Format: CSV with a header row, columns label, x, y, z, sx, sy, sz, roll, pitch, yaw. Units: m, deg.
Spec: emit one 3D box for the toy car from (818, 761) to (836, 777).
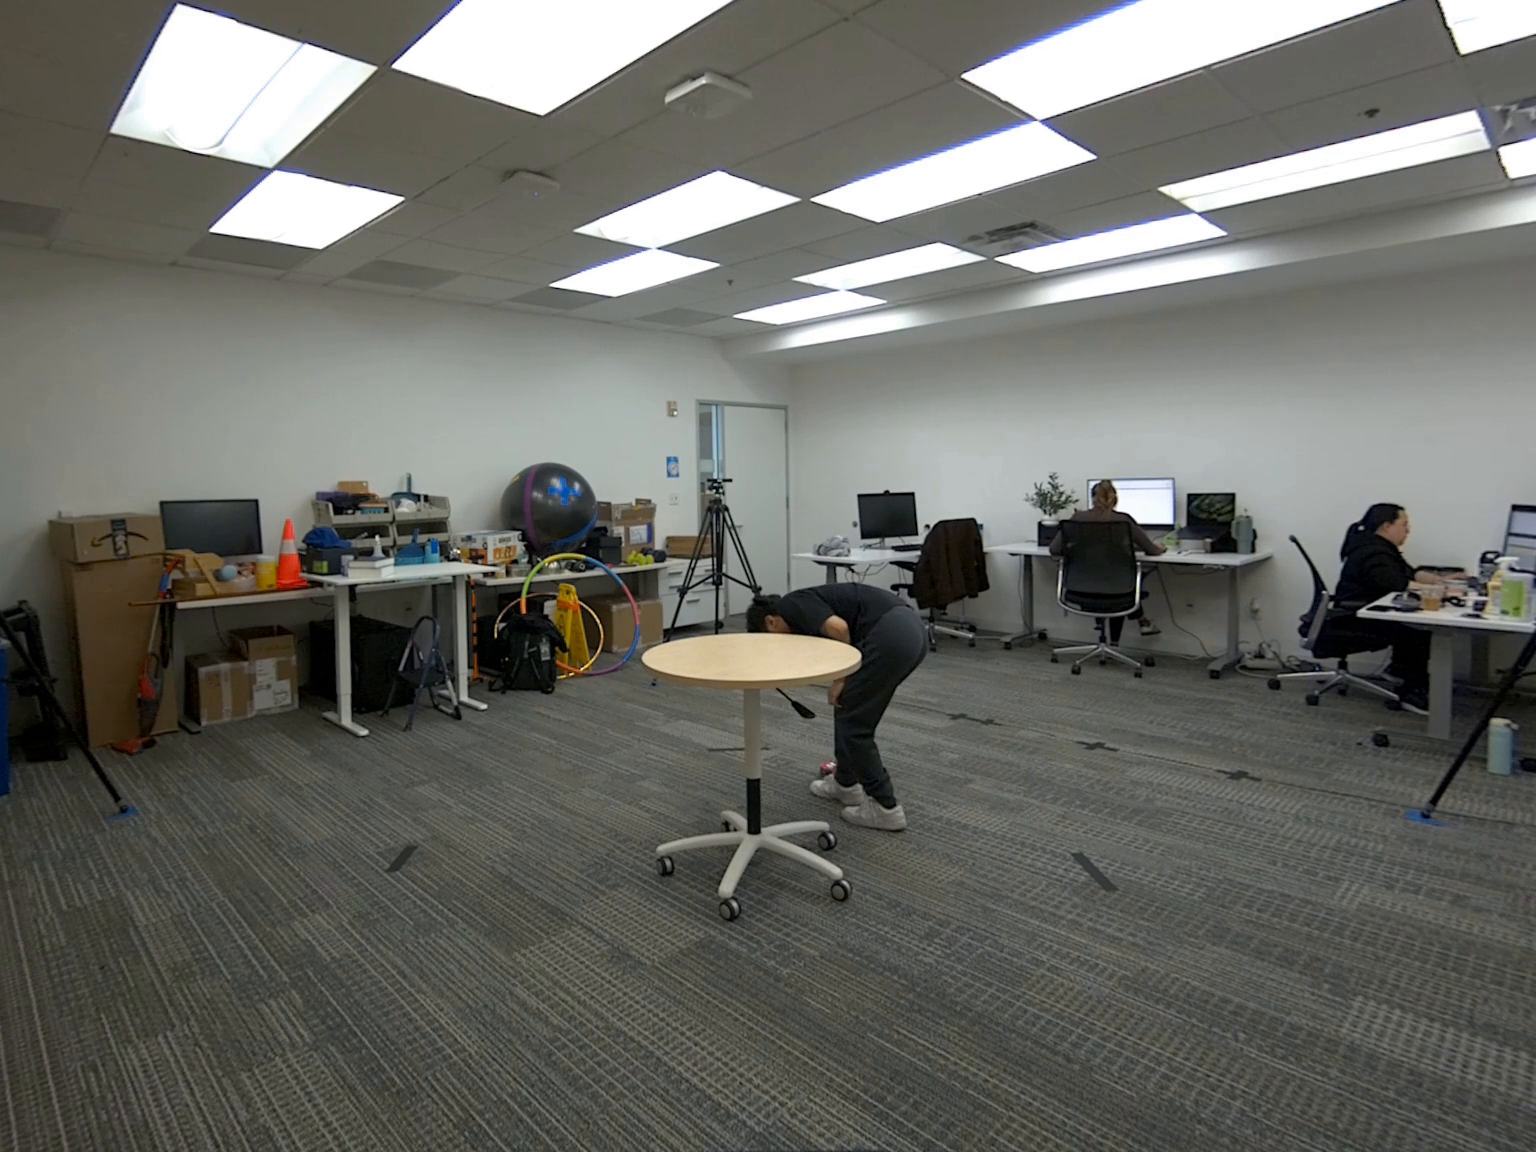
label,x,y,z,sx,sy,sz,roll,pitch,yaw
toy car,0.372,0.914,3.967,0.260,0.083,0.127,-10,-3,37
